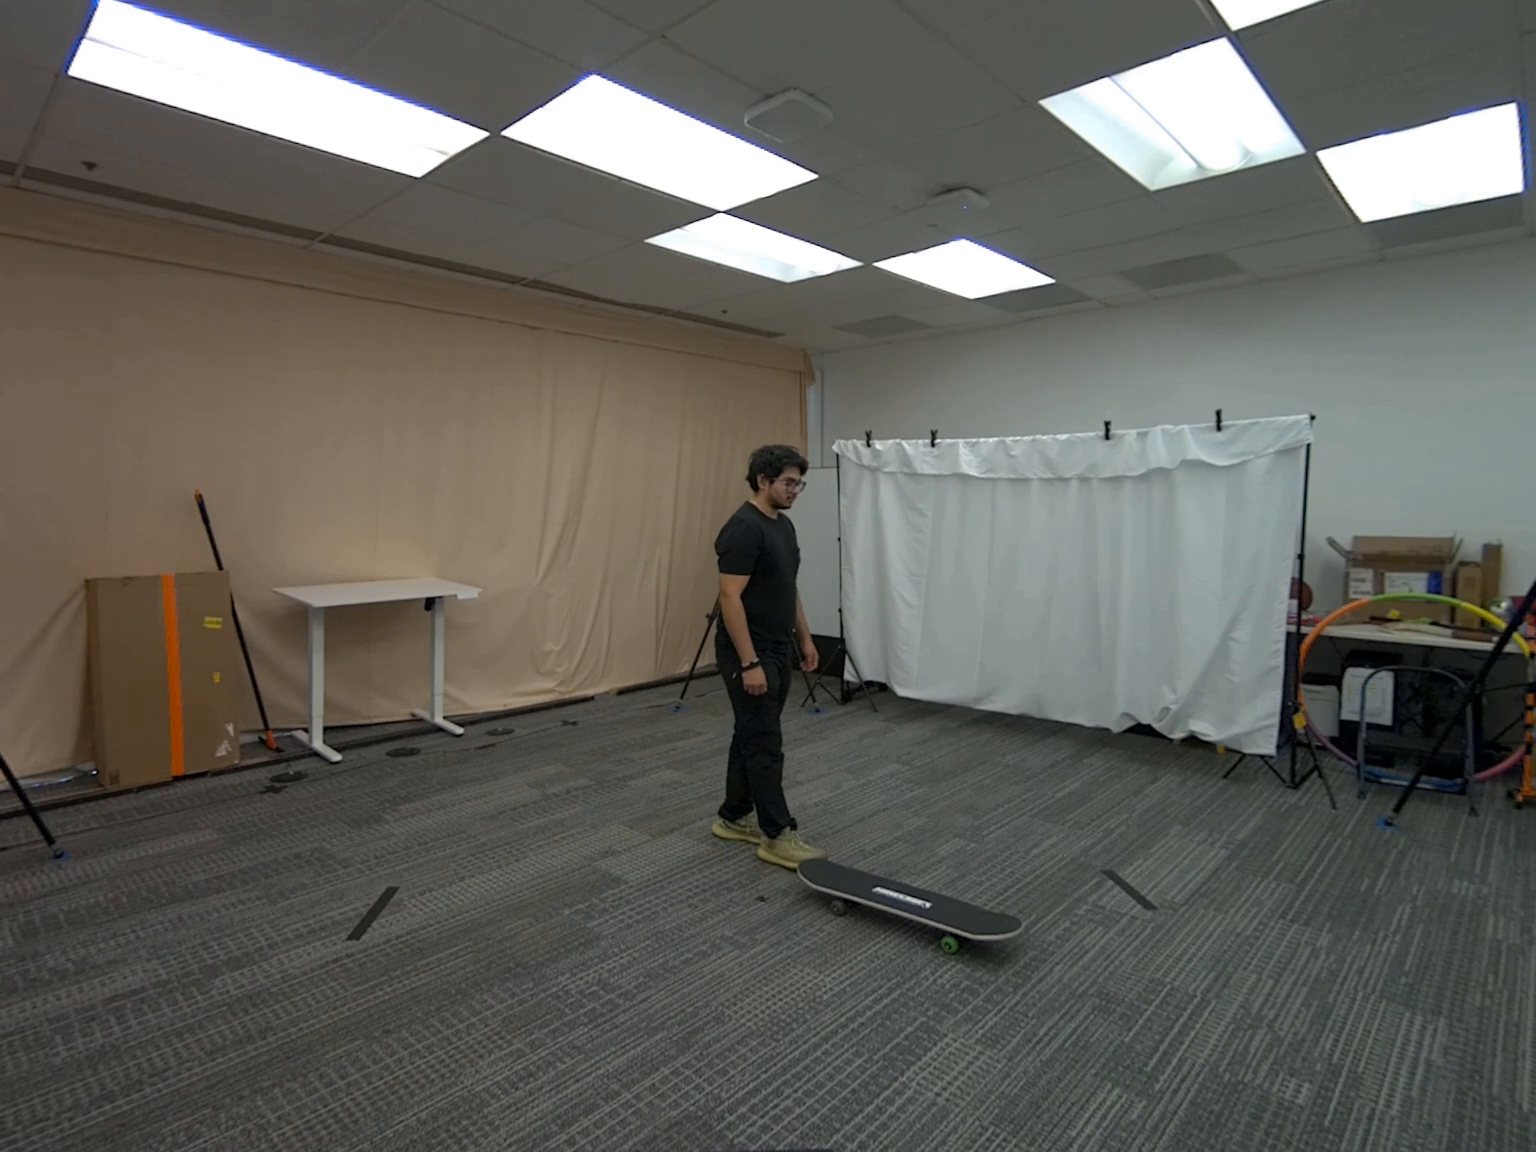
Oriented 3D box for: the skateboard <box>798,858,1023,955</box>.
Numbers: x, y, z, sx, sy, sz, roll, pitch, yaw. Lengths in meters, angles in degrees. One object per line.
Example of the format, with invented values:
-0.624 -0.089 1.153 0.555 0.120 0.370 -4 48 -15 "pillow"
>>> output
0.448 1.096 2.799 0.810 0.110 0.188 3 6 36 "skateboard"
